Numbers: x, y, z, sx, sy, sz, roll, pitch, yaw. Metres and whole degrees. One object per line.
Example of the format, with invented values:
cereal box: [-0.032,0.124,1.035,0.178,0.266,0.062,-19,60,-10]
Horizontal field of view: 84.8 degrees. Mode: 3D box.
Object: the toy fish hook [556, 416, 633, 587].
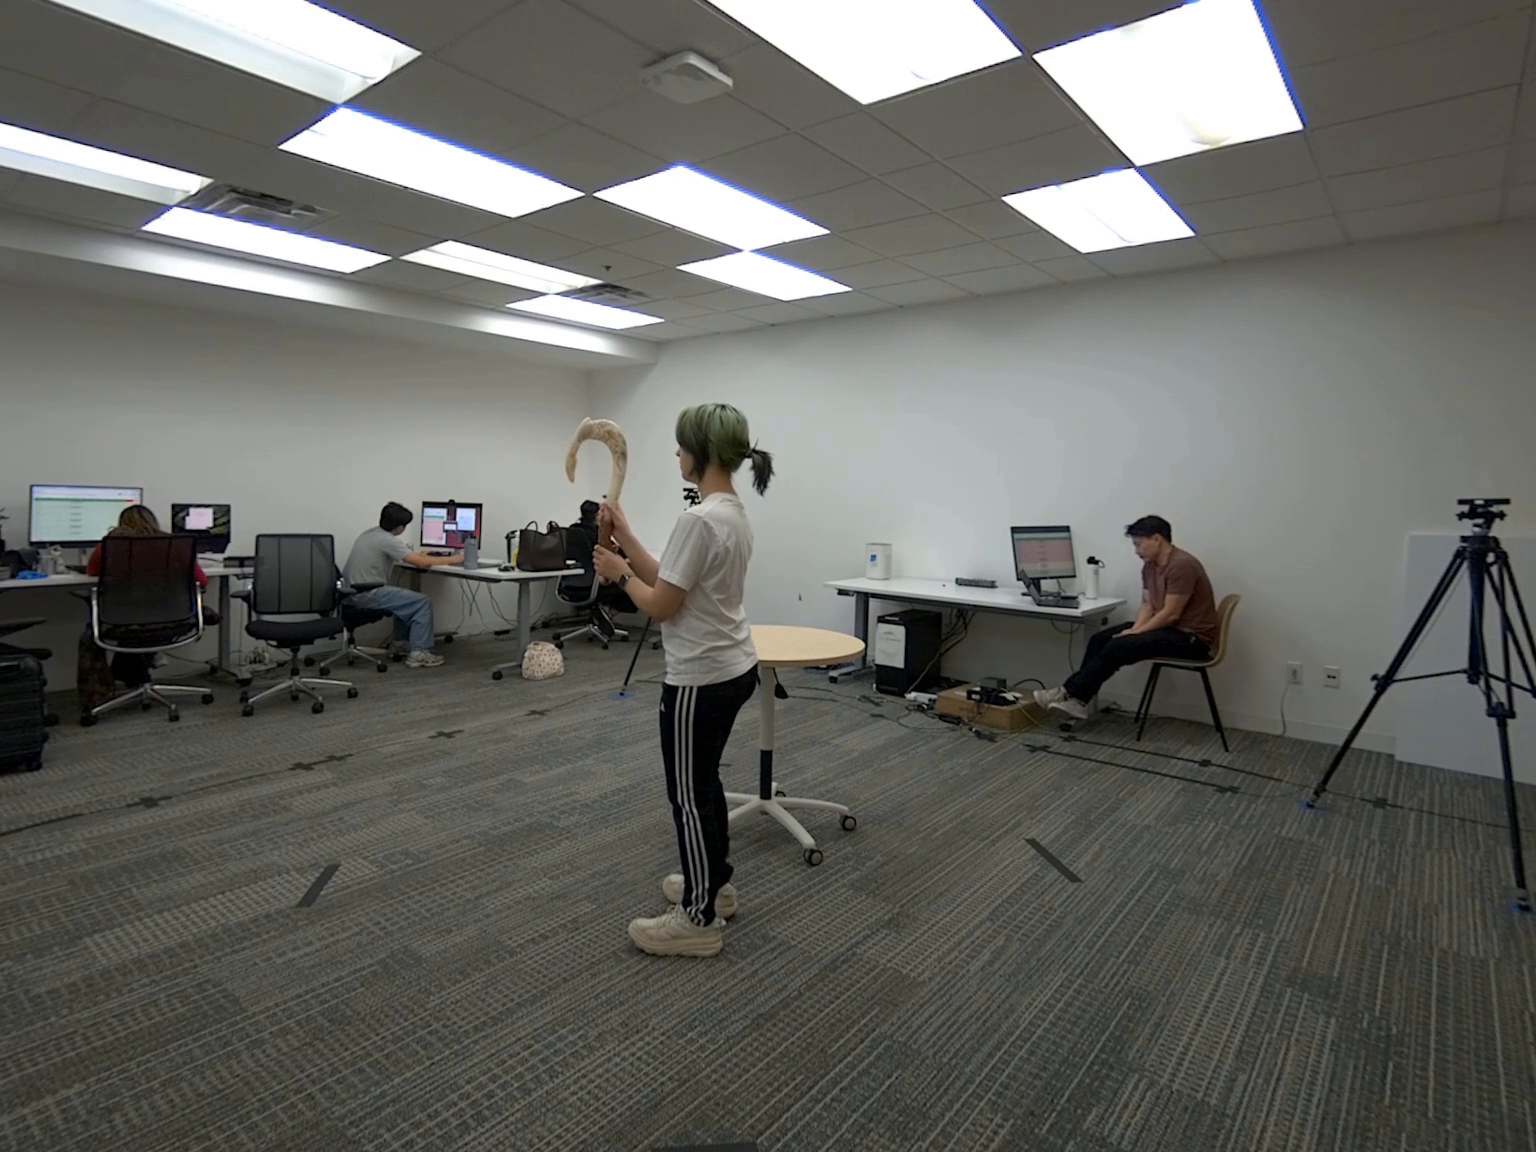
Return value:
toy fish hook: [-0.535,-0.228,2.599,0.218,0.506,0.050,0,2,-39]
